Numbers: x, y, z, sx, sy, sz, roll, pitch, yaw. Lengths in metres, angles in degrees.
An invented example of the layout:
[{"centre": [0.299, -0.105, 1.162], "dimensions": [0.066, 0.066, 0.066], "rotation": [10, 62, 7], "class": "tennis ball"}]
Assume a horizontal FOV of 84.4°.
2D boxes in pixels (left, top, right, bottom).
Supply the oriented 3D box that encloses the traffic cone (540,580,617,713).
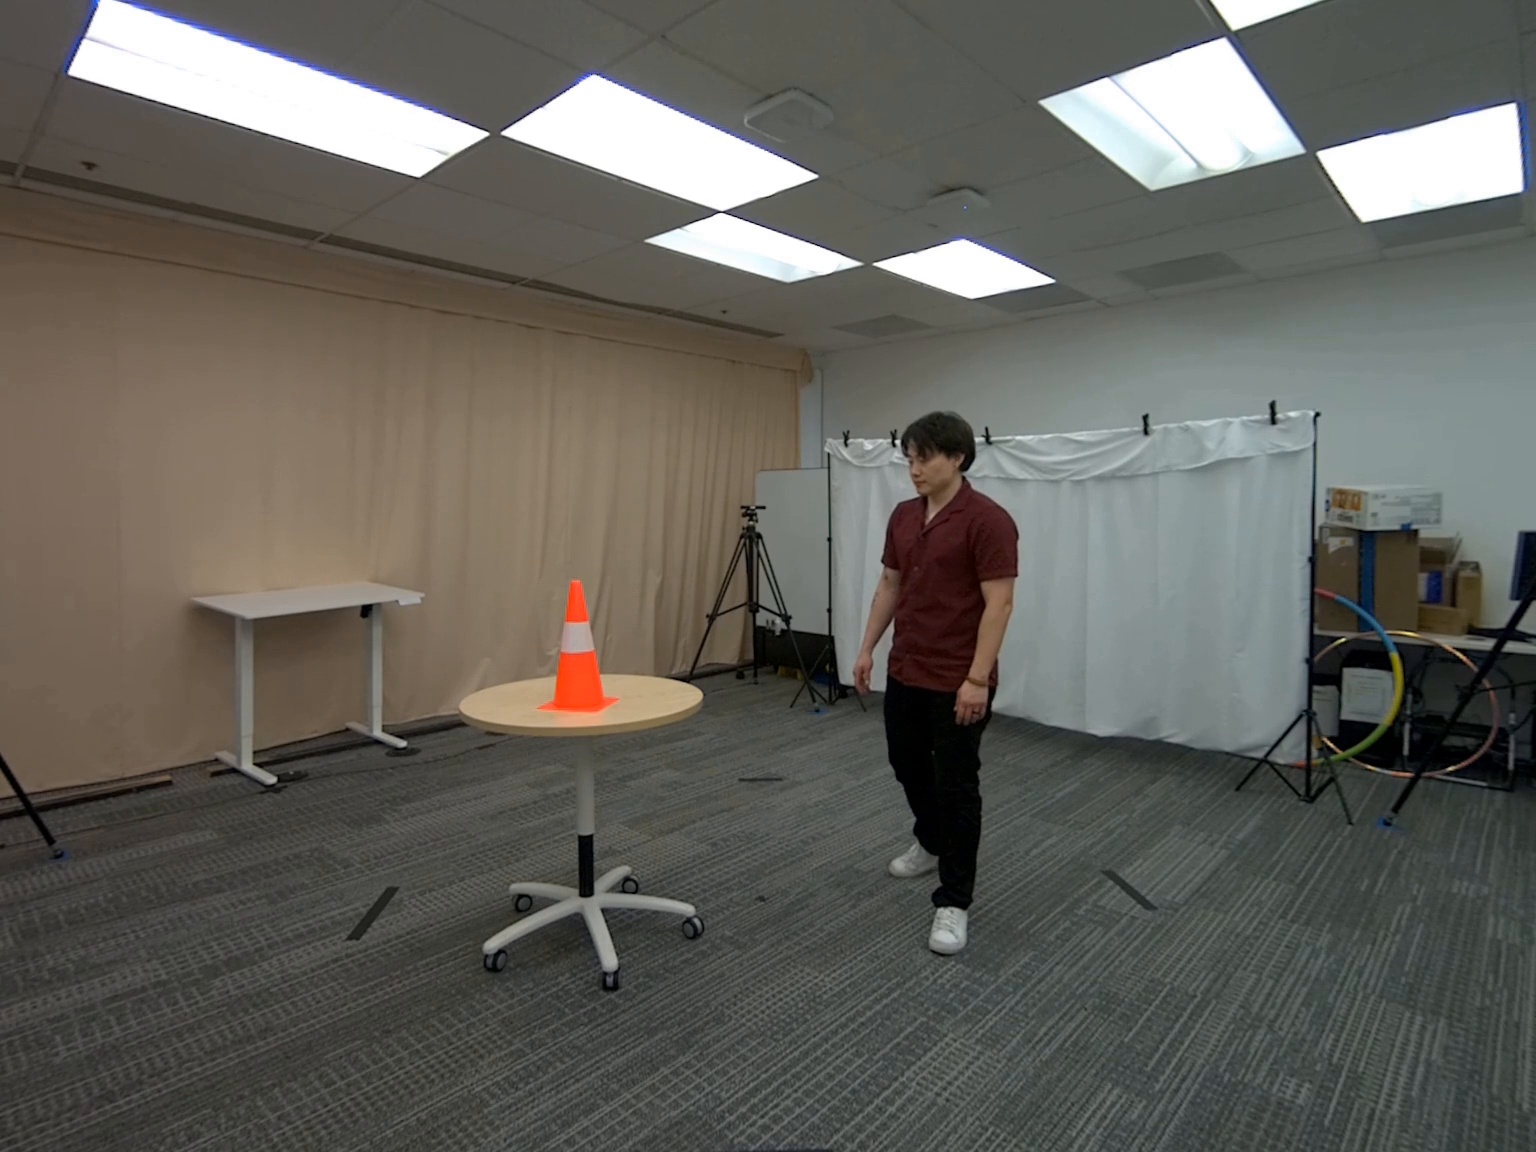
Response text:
[{"centre": [-0.590, 0.212, 2.591], "dimensions": [0.208, 0.383, 0.201], "rotation": [-1, 2, 11], "class": "traffic cone"}]
